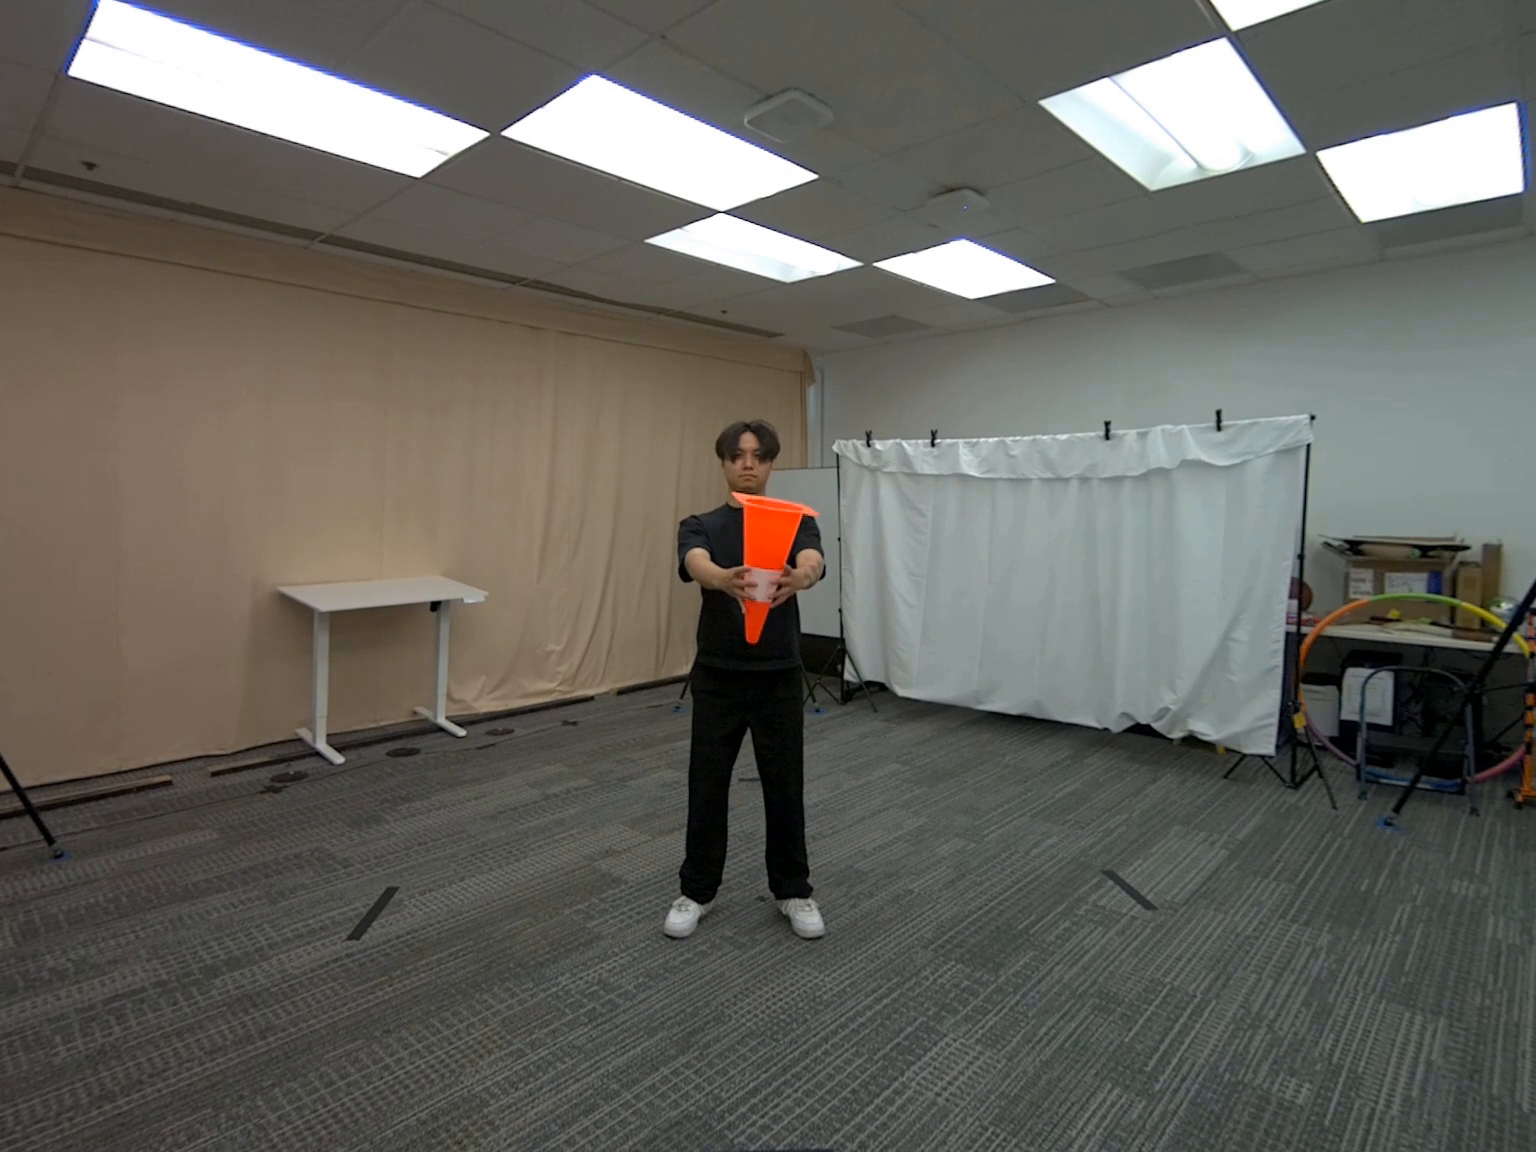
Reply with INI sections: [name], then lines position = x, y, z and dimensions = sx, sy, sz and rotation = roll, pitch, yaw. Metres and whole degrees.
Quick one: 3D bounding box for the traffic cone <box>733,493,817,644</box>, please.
[traffic cone]
position = -0.021, 0.006, 2.218
dimensions = 0.203, 0.382, 0.205
rotation = 10, 8, -7
